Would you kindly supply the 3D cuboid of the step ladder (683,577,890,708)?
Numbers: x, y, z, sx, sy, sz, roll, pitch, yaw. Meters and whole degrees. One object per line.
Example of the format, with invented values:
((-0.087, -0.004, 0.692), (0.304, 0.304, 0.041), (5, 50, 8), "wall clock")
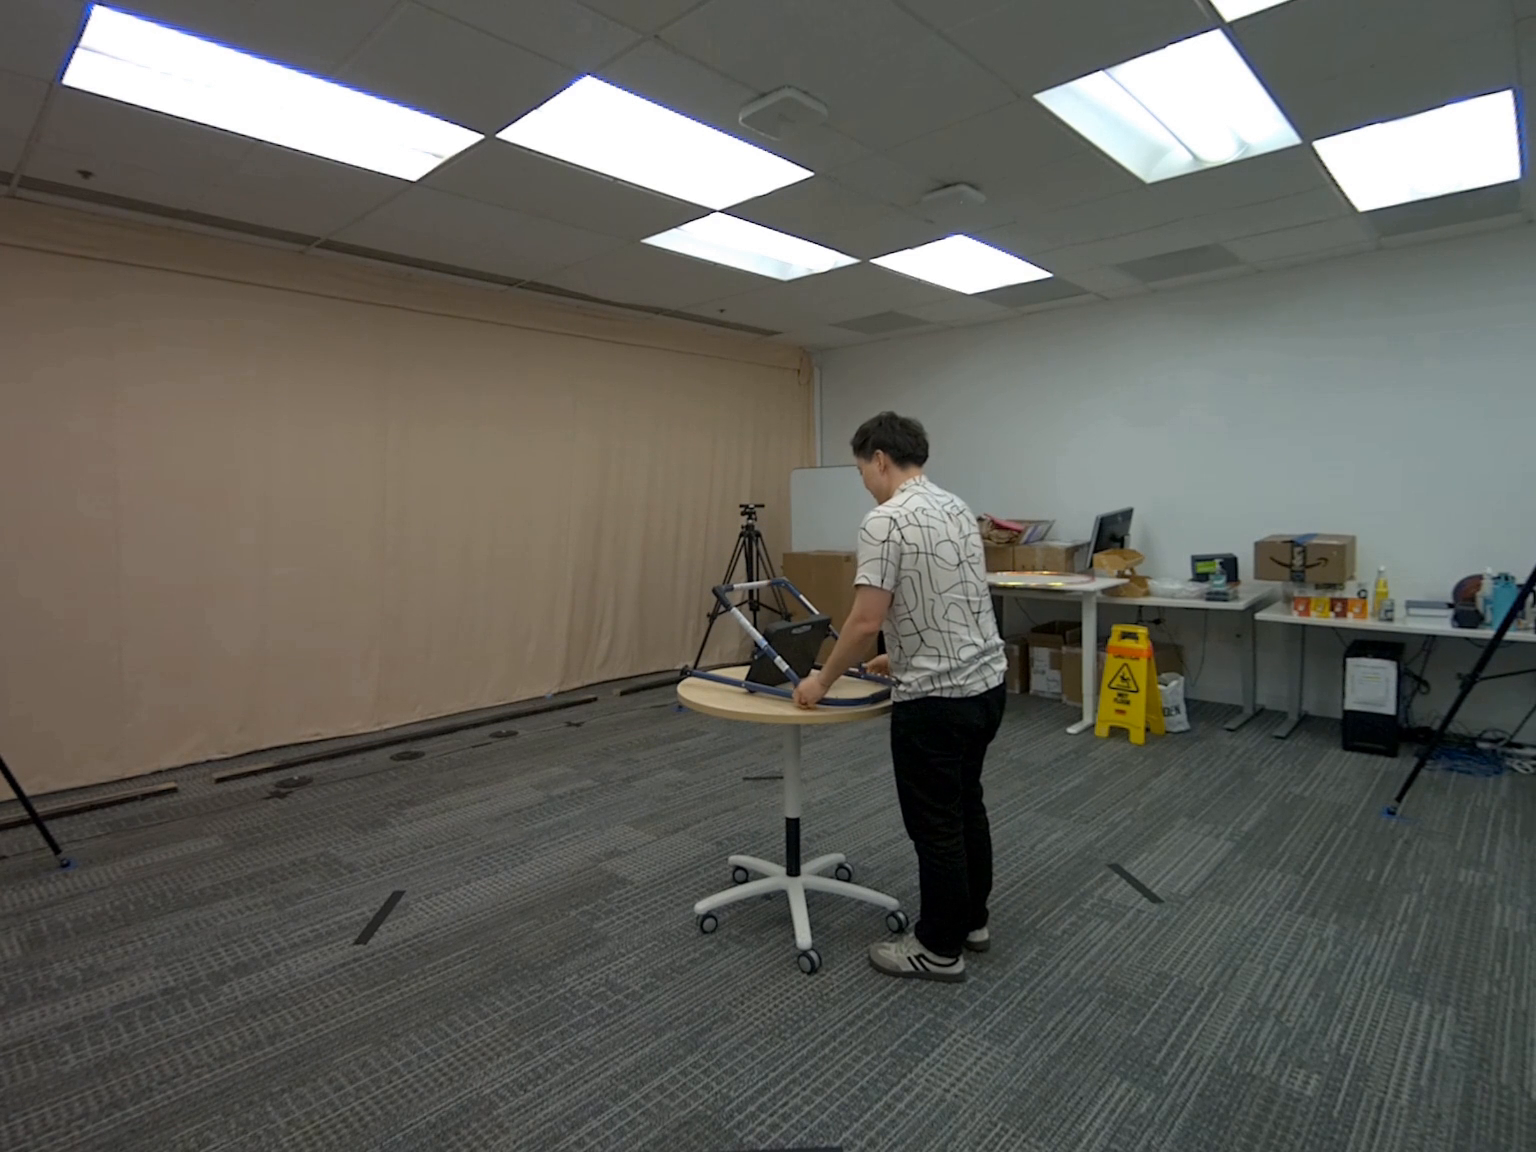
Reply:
((0.113, 0.303, 2.791), (0.627, 0.347, 0.418), (31, 22, 31), "step ladder")
